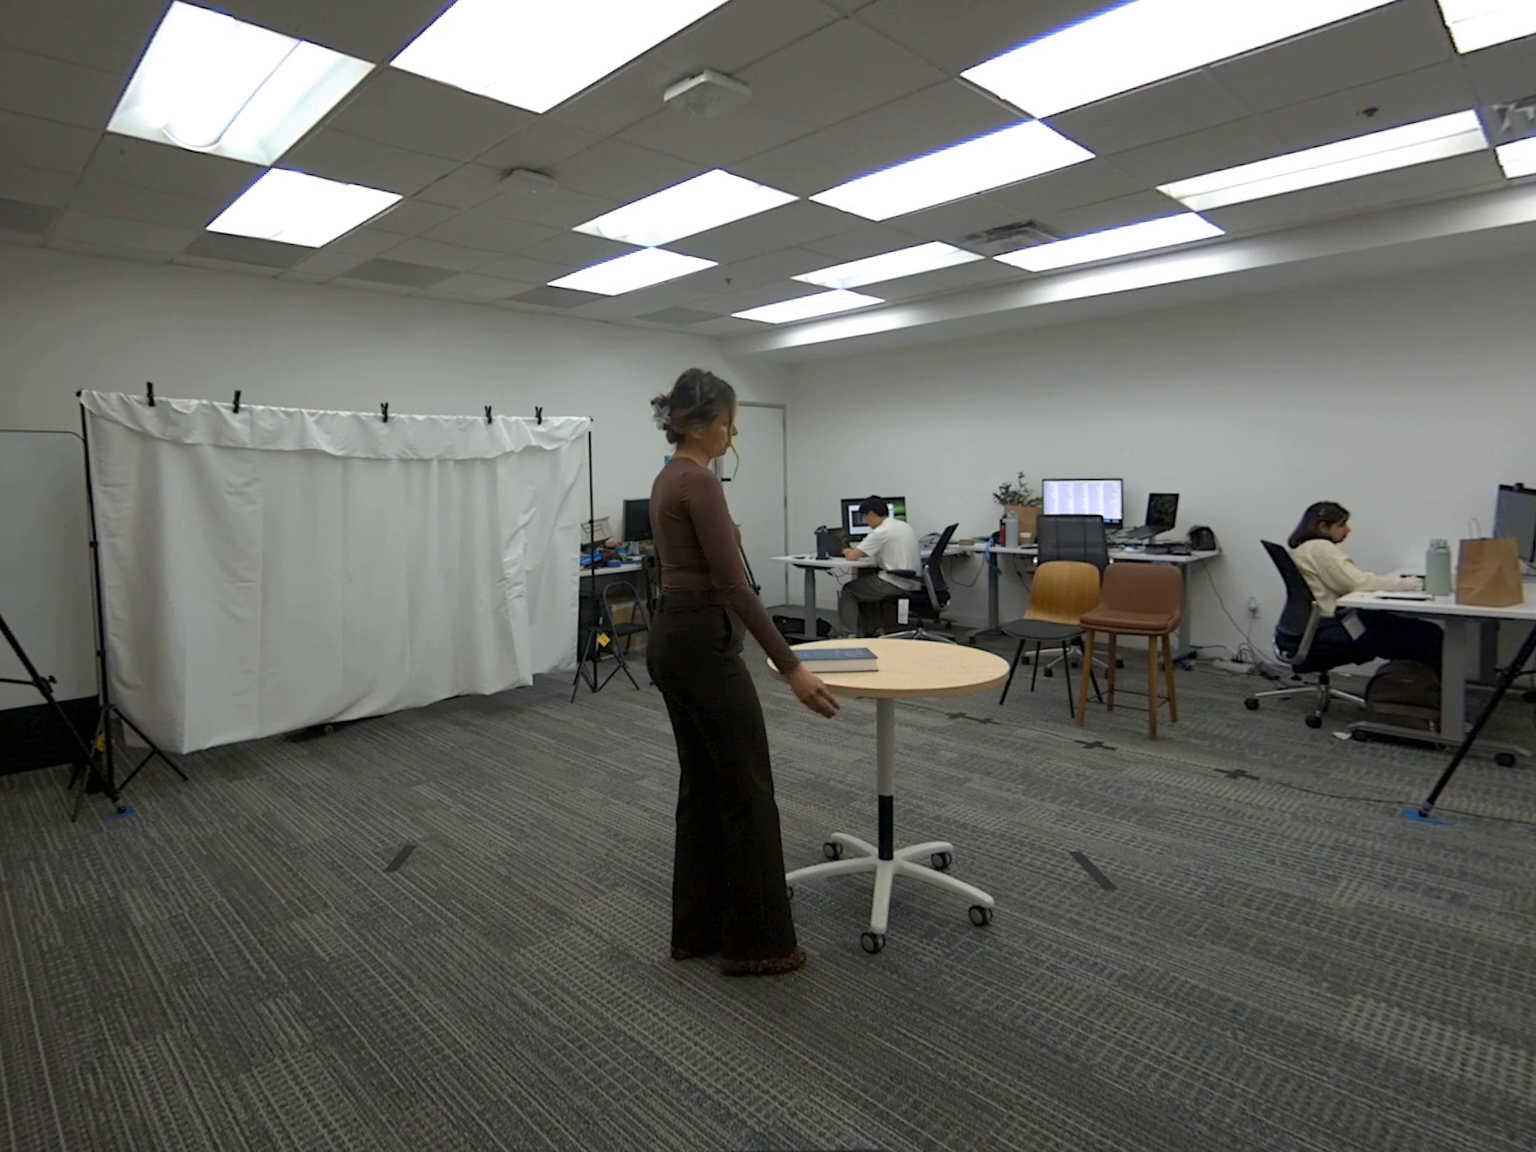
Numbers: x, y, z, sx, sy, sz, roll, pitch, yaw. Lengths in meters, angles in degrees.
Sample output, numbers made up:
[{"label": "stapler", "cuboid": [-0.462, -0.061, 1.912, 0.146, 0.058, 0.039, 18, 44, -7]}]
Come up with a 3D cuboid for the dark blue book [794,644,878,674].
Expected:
[{"label": "dark blue book", "cuboid": [0.223, 0.267, 2.679, 0.244, 0.045, 0.165, -1, 6, -5]}]
